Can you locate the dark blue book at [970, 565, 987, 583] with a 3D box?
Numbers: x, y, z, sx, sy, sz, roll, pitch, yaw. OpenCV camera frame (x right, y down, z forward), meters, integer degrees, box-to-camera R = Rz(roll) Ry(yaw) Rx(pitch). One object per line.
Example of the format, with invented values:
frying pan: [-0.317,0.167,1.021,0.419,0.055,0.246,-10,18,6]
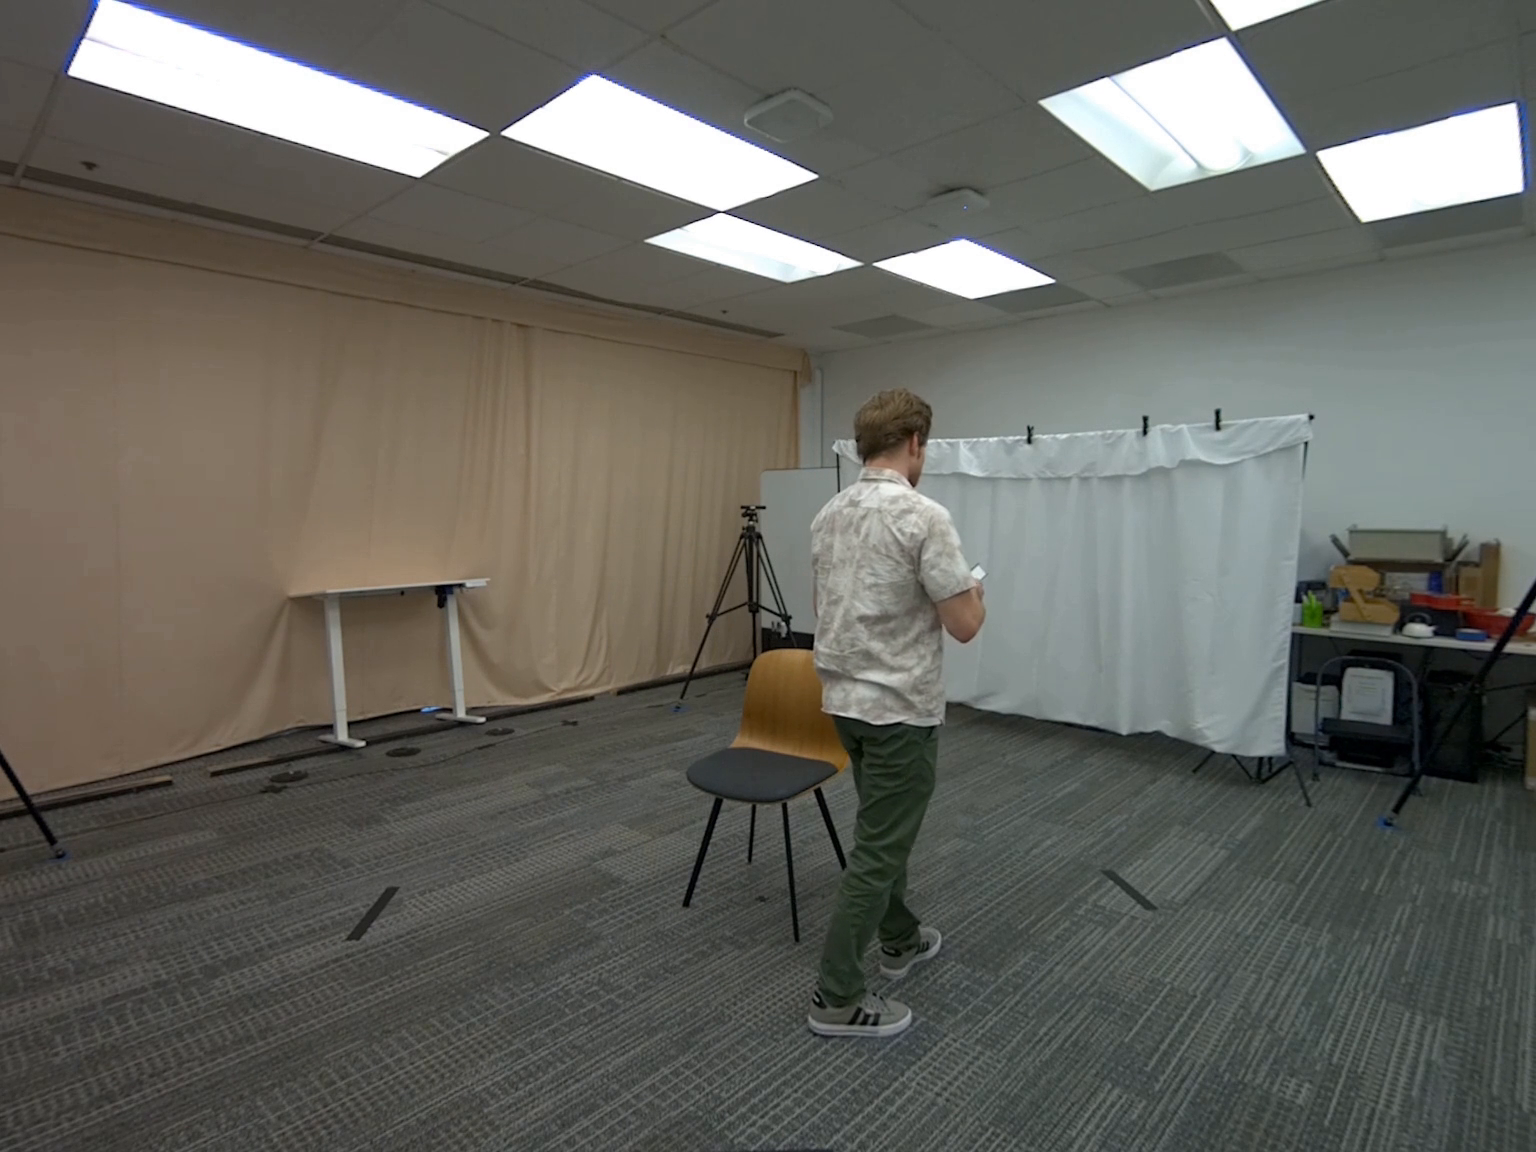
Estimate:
dark blue book: [0.557,0.069,2.516,0.241,0.046,0.164,-36,-11,-45]
